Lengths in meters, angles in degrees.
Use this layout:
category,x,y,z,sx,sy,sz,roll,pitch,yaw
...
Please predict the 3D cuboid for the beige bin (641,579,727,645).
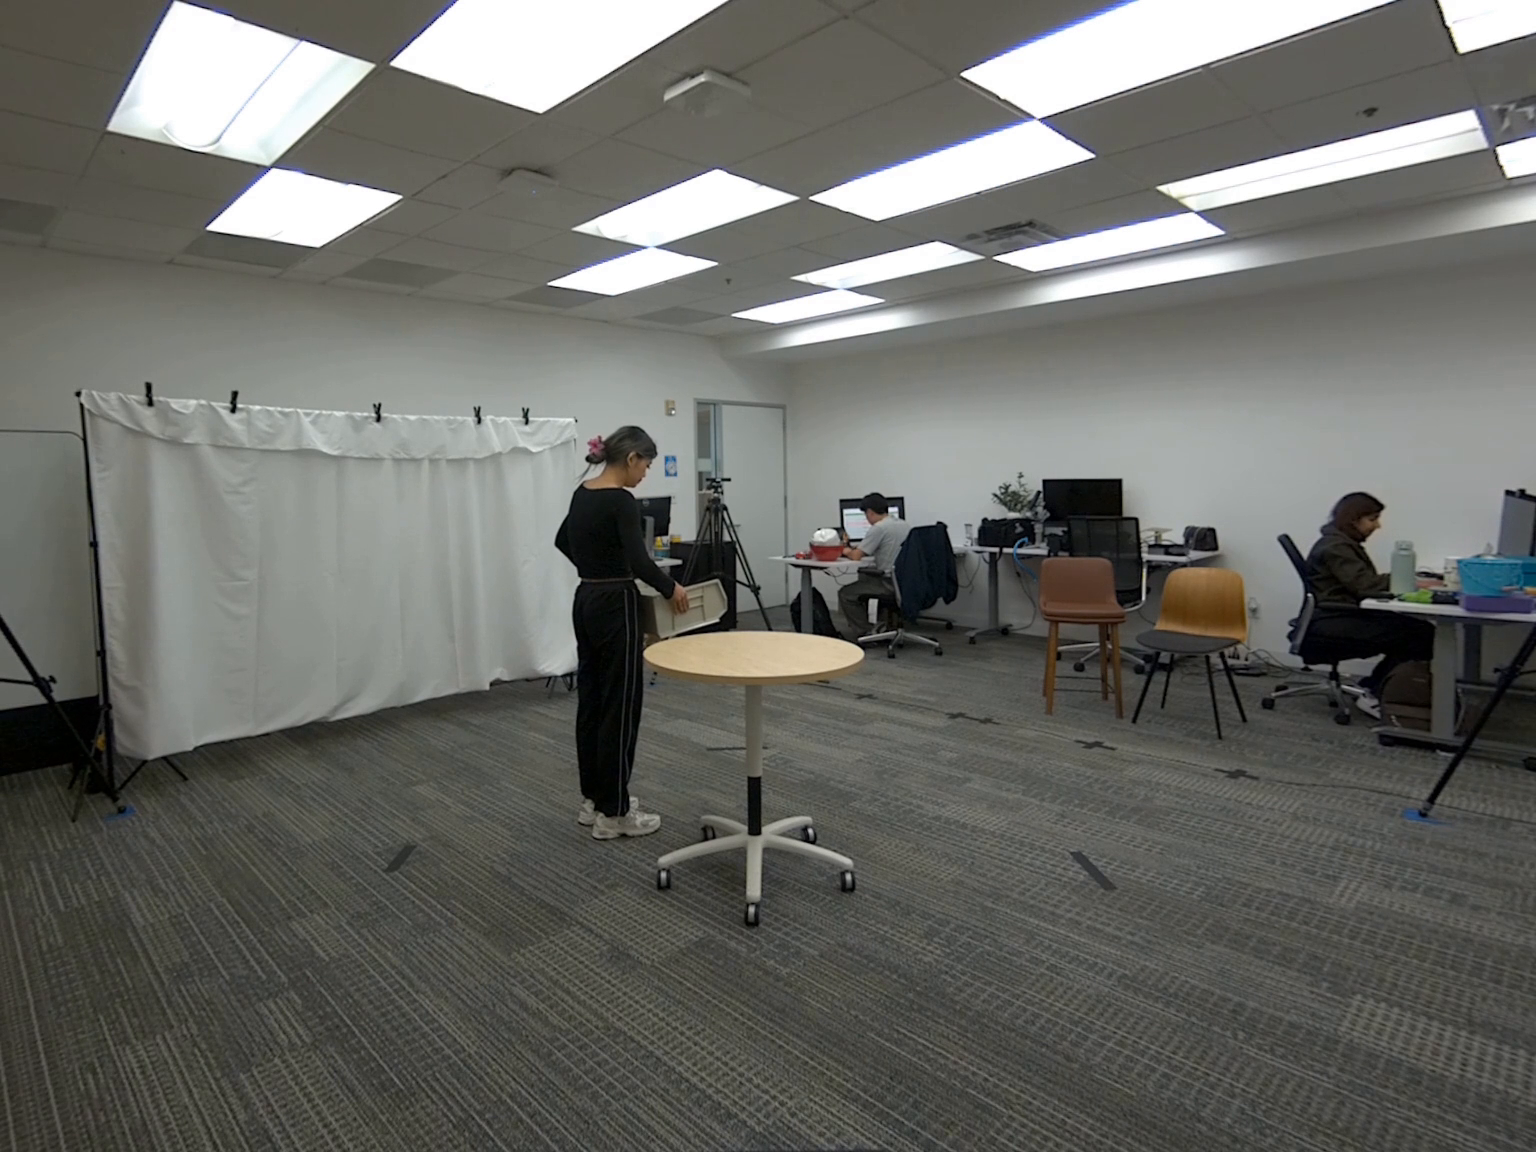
category,x,y,z,sx,sy,sz,roll,pitch,yaw
beige bin,-0.448,0.116,3.675,0.369,0.187,0.435,-16,14,-41
